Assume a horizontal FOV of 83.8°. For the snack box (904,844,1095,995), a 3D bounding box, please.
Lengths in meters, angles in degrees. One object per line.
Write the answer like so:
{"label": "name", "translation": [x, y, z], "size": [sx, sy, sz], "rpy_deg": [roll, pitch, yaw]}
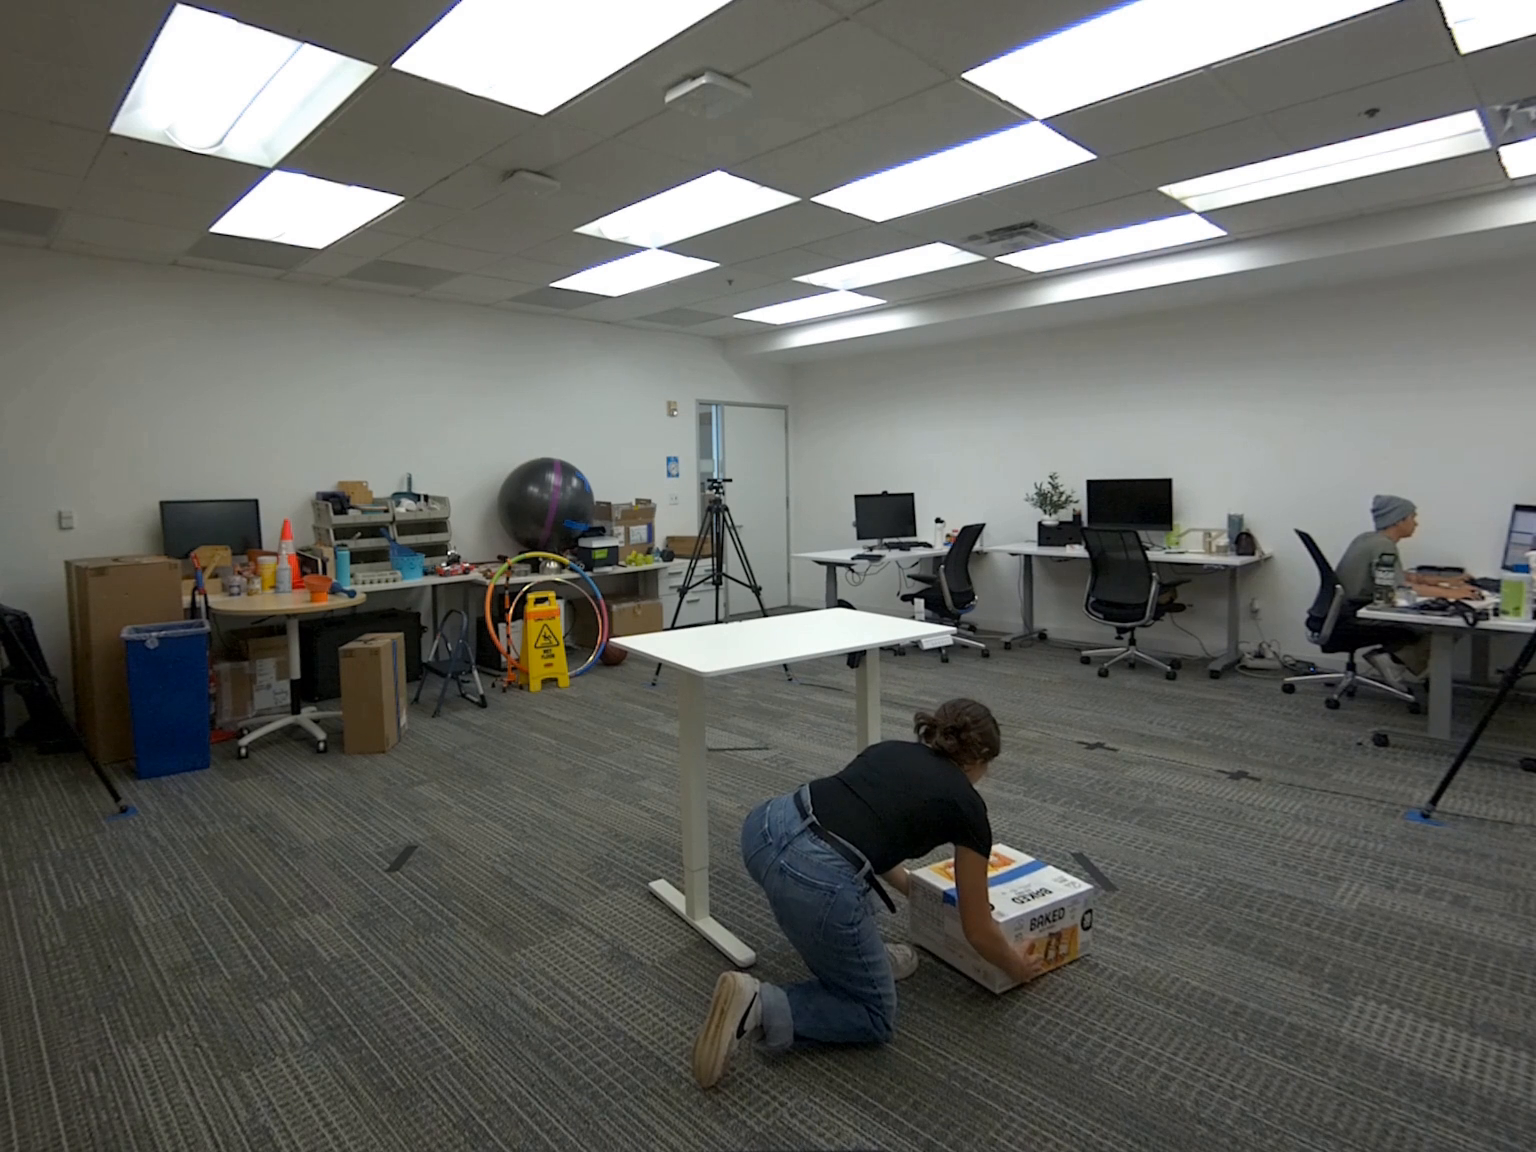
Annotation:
{"label": "snack box", "translation": [0.688, 0.991, 2.509], "size": [0.395, 0.205, 0.350], "rpy_deg": [-3, 6, -33]}
